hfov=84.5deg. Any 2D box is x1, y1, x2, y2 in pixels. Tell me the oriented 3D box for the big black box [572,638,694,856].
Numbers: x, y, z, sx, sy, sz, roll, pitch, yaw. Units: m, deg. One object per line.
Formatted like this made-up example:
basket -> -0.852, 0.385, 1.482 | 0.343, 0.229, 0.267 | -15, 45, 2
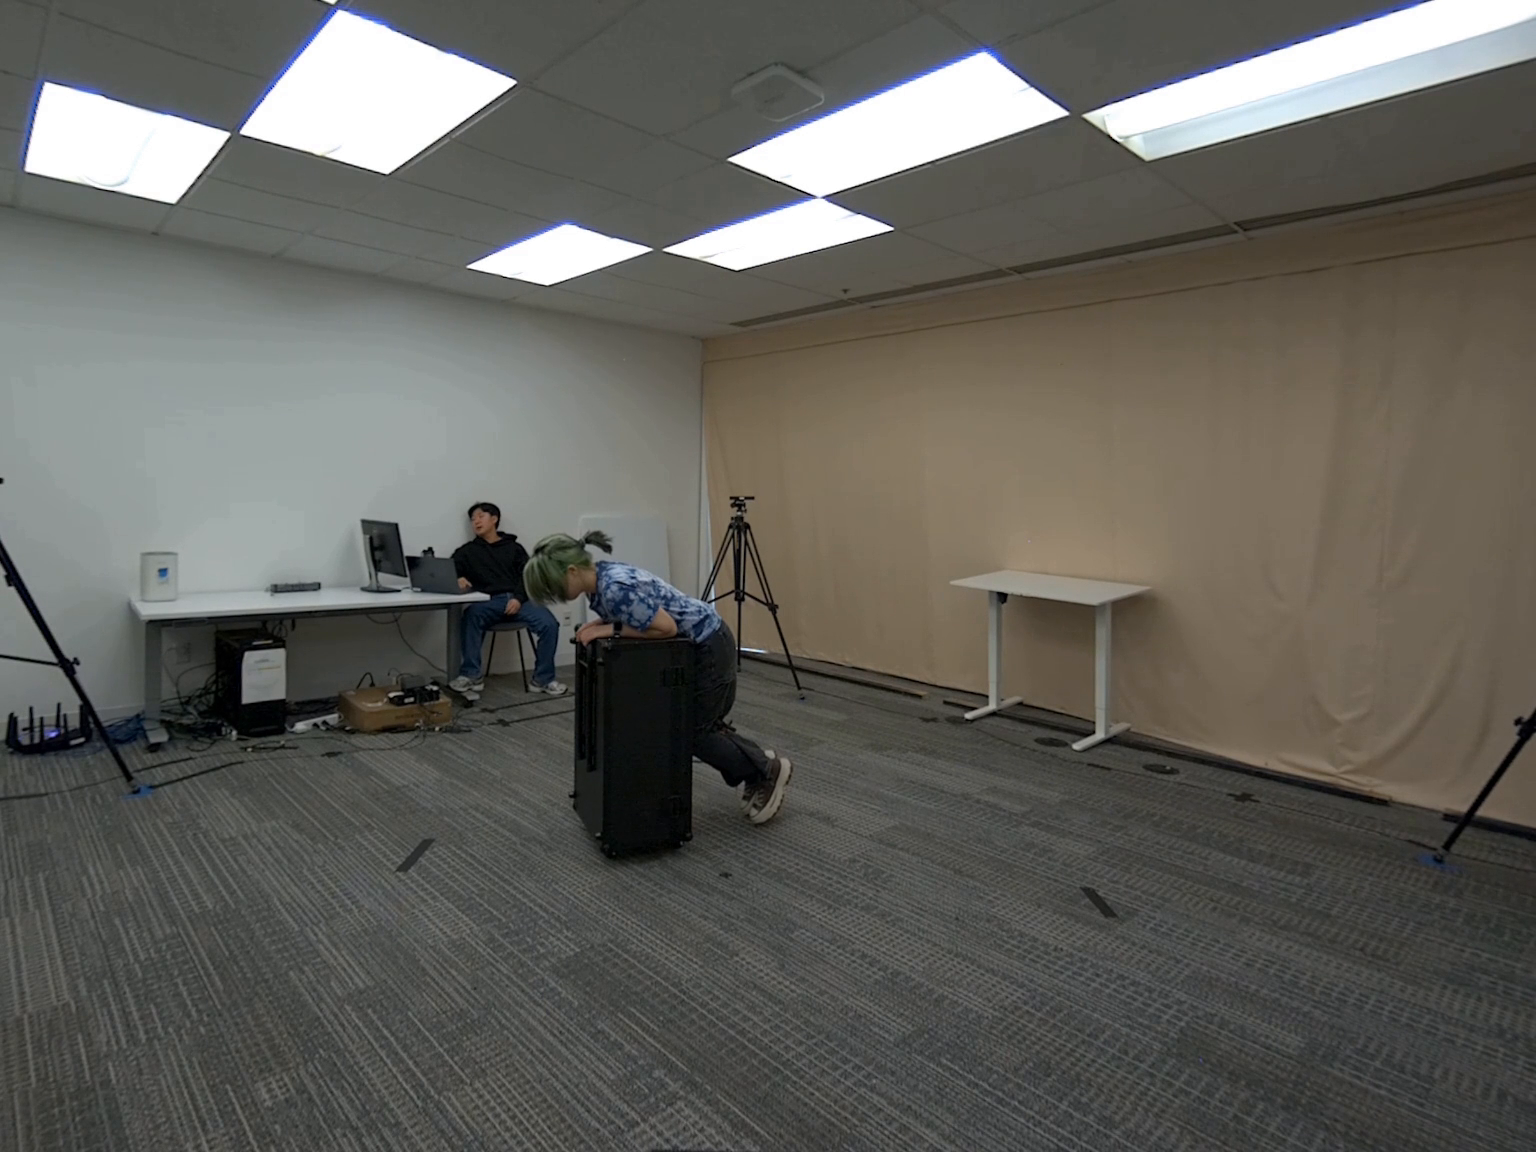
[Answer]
big black box -> -0.568, 0.596, 3.362 | 0.389, 0.859, 0.532 | -1, 4, -25
